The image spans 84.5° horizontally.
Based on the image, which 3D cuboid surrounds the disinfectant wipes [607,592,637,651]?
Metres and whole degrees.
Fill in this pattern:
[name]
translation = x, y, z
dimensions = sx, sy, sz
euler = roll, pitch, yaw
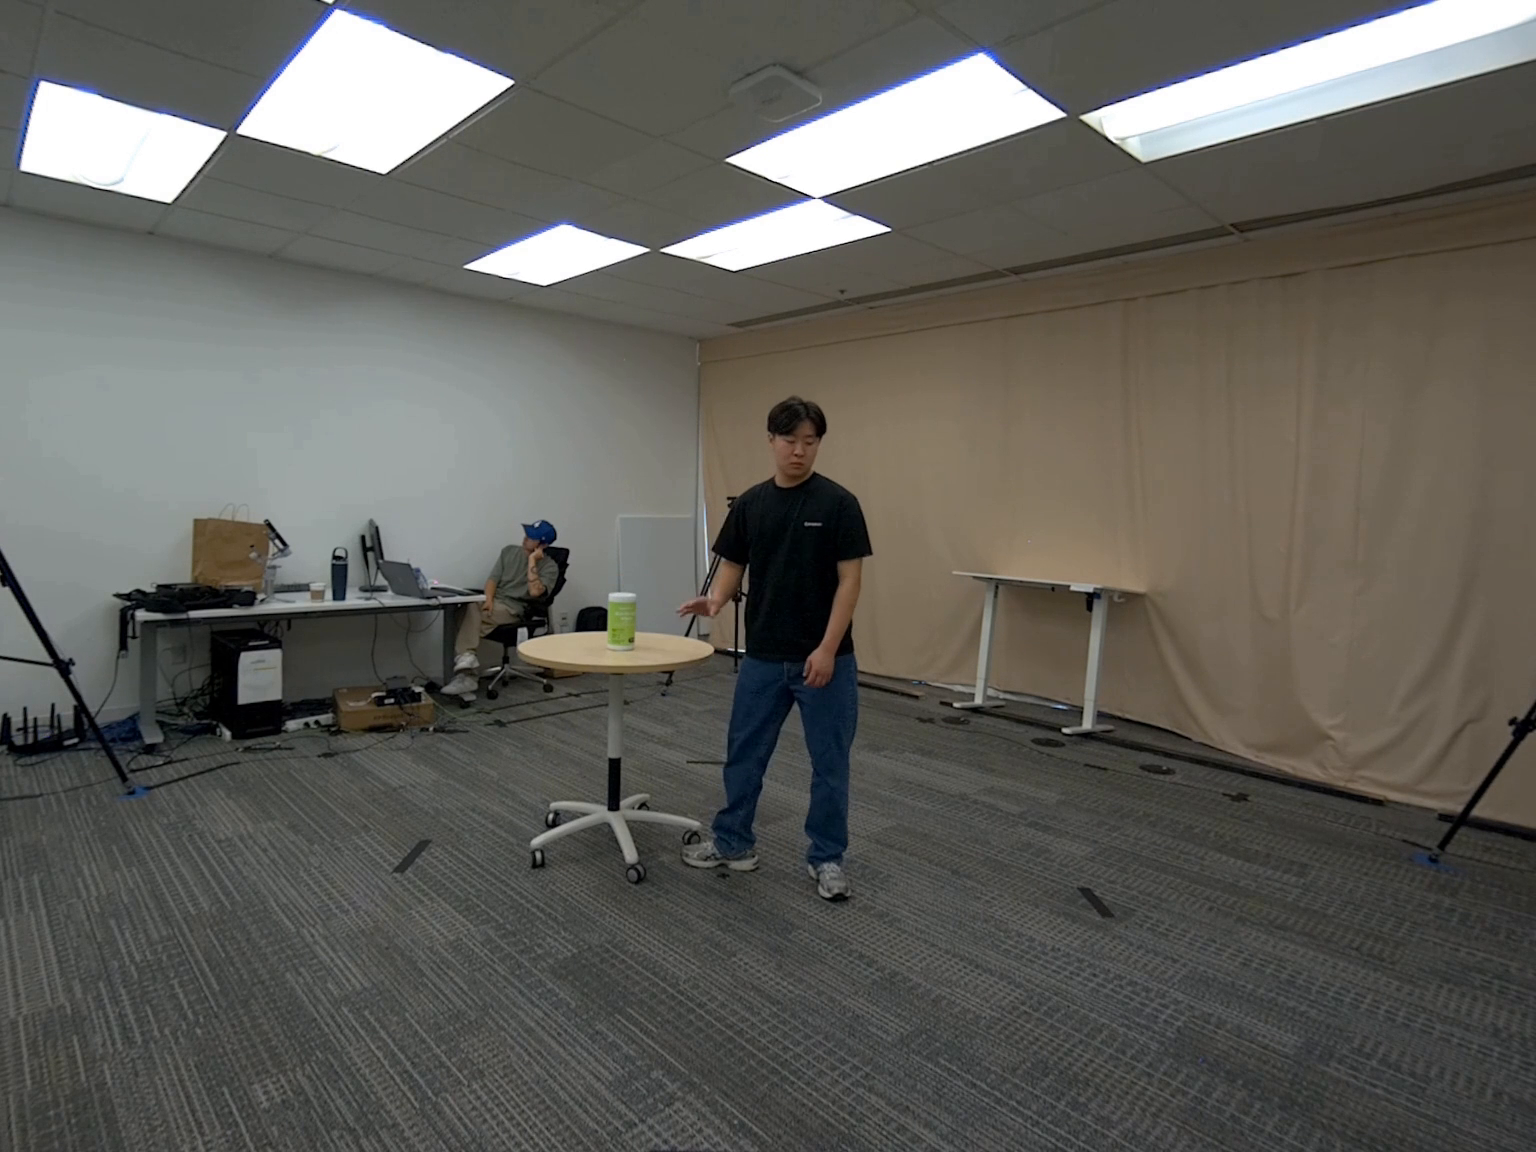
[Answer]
[disinfectant wipes]
translation = -0.572, 0.180, 3.283
dimensions = 0.118, 0.217, 0.118
euler = 3, 3, -2
